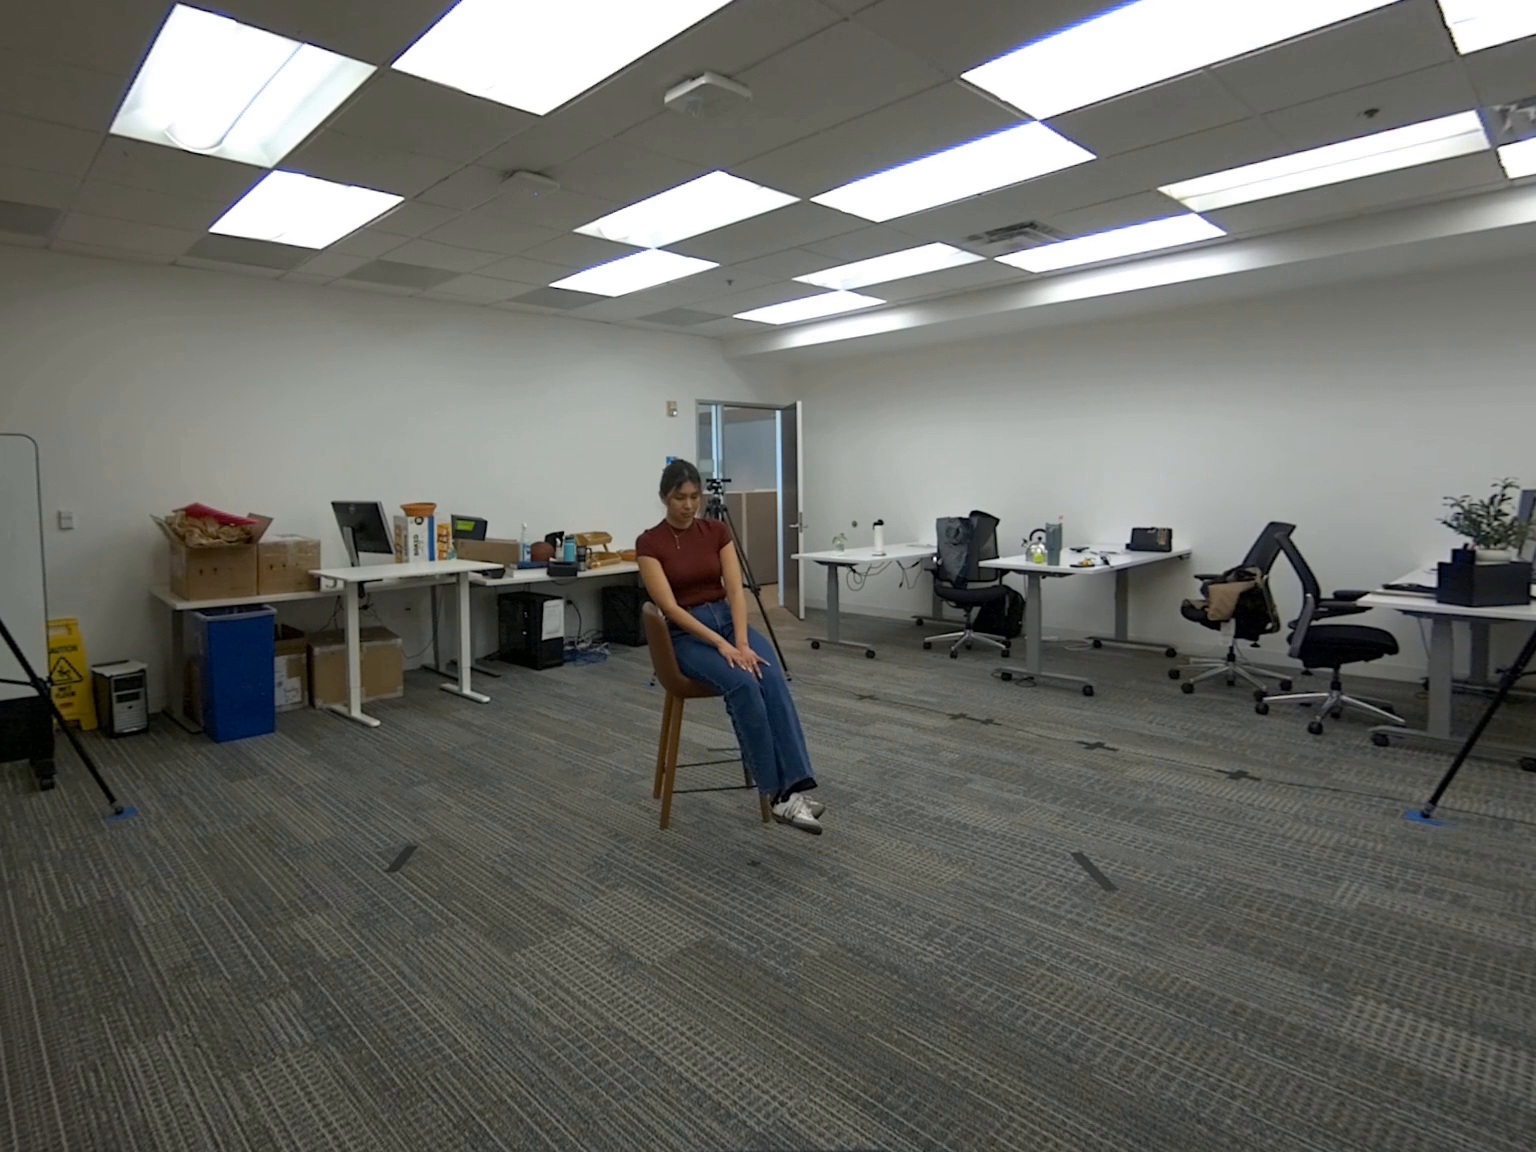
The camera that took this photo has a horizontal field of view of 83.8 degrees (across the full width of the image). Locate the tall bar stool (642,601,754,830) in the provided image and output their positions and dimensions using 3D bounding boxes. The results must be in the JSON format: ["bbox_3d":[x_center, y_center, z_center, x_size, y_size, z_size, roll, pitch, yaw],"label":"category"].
[{"bbox_3d":[-0.271,0.559,3.621,0.463,0.887,0.462,-3,4,-11],"label":"tall bar stool"}]
